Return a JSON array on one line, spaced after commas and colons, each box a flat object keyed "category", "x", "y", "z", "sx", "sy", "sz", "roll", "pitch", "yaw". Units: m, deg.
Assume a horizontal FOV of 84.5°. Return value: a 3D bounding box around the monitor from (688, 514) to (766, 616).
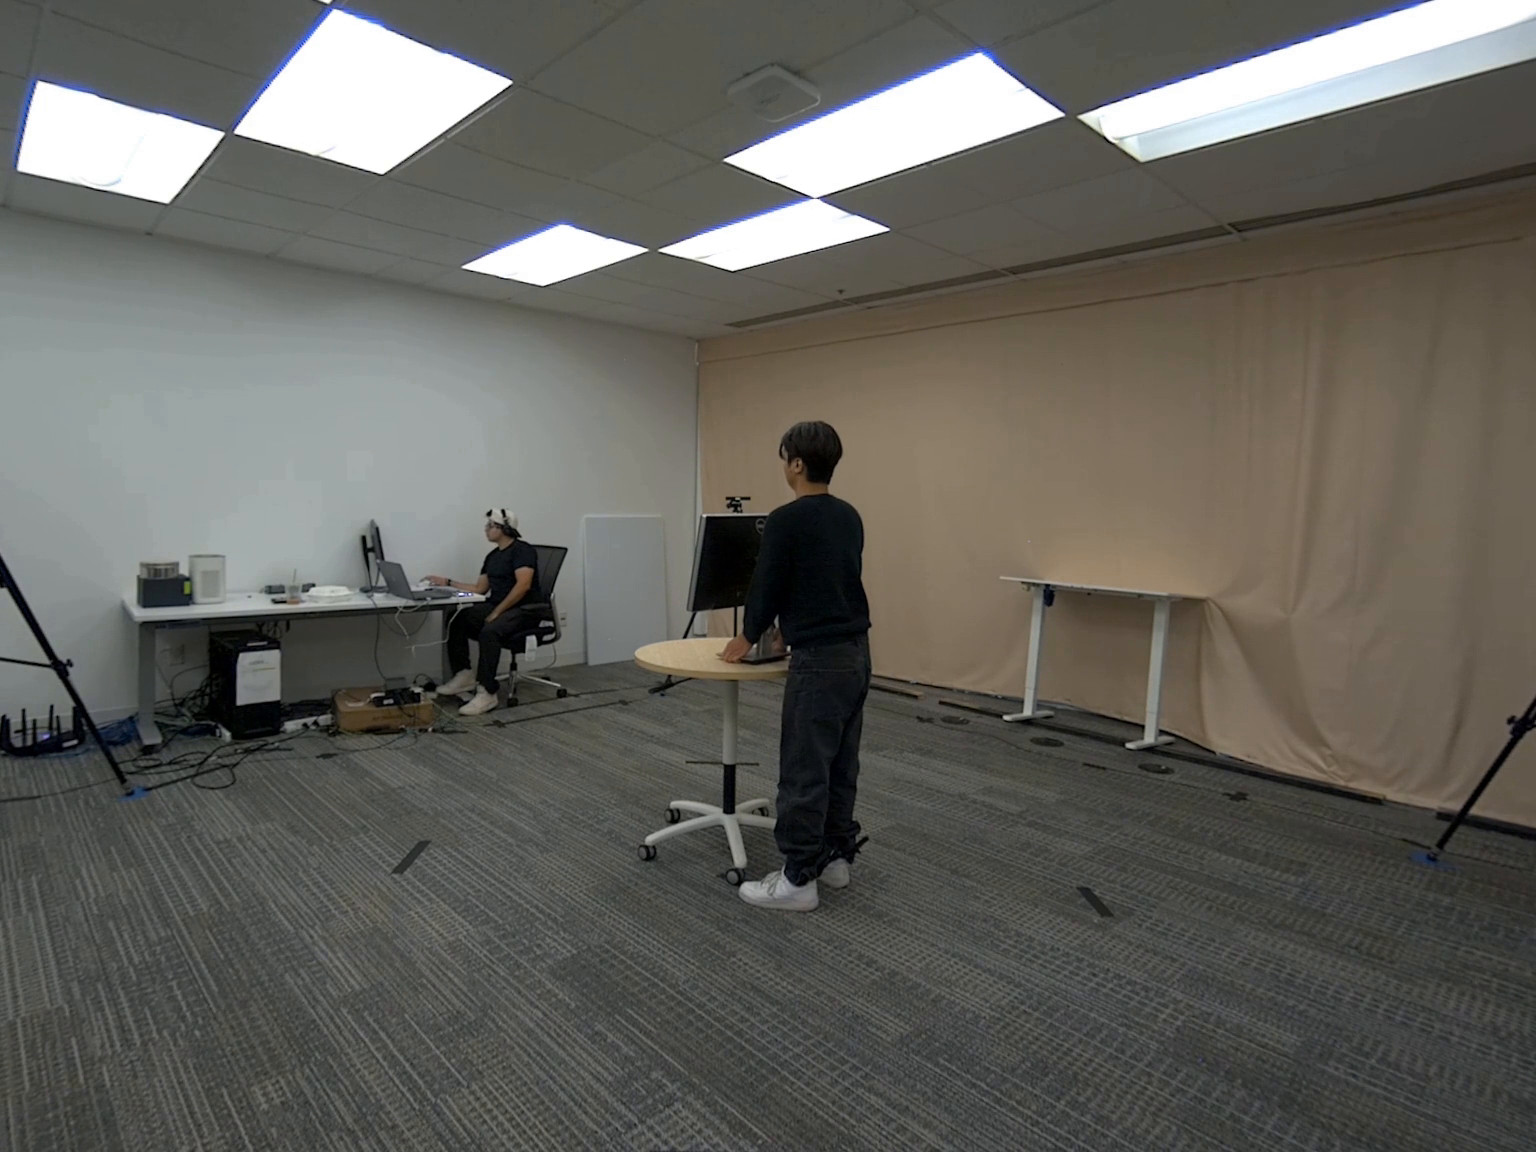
[{"category": "monitor", "x": -0.048, "y": 0.036, "z": 3.199, "sx": 0.192, "sy": 0.521, "sz": 0.527, "roll": 2, "pitch": 4, "yaw": 42}]
